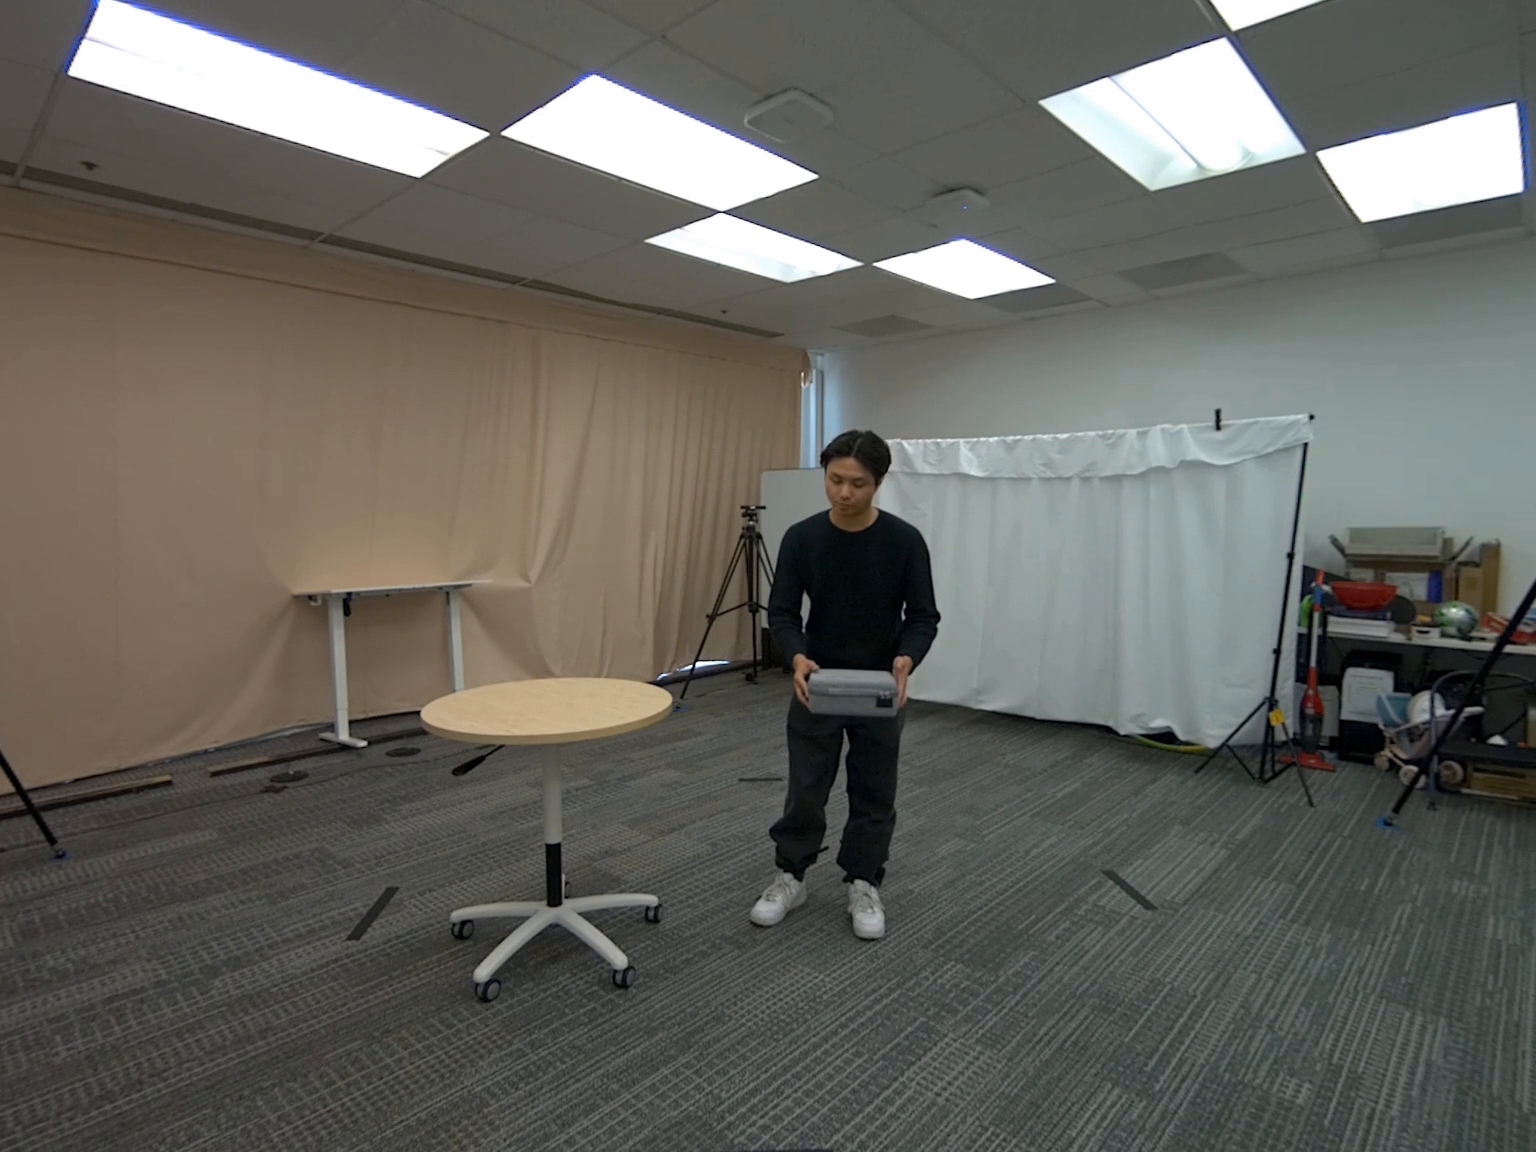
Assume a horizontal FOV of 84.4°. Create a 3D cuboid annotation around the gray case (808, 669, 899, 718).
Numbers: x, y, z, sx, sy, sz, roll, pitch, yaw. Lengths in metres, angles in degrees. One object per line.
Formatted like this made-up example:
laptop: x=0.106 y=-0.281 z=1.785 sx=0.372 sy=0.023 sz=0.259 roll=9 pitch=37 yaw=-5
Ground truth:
gray case: x=0.254 y=0.338 z=2.477 sx=0.259 sy=0.104 sz=0.259 roll=0 pitch=1 yaw=6
